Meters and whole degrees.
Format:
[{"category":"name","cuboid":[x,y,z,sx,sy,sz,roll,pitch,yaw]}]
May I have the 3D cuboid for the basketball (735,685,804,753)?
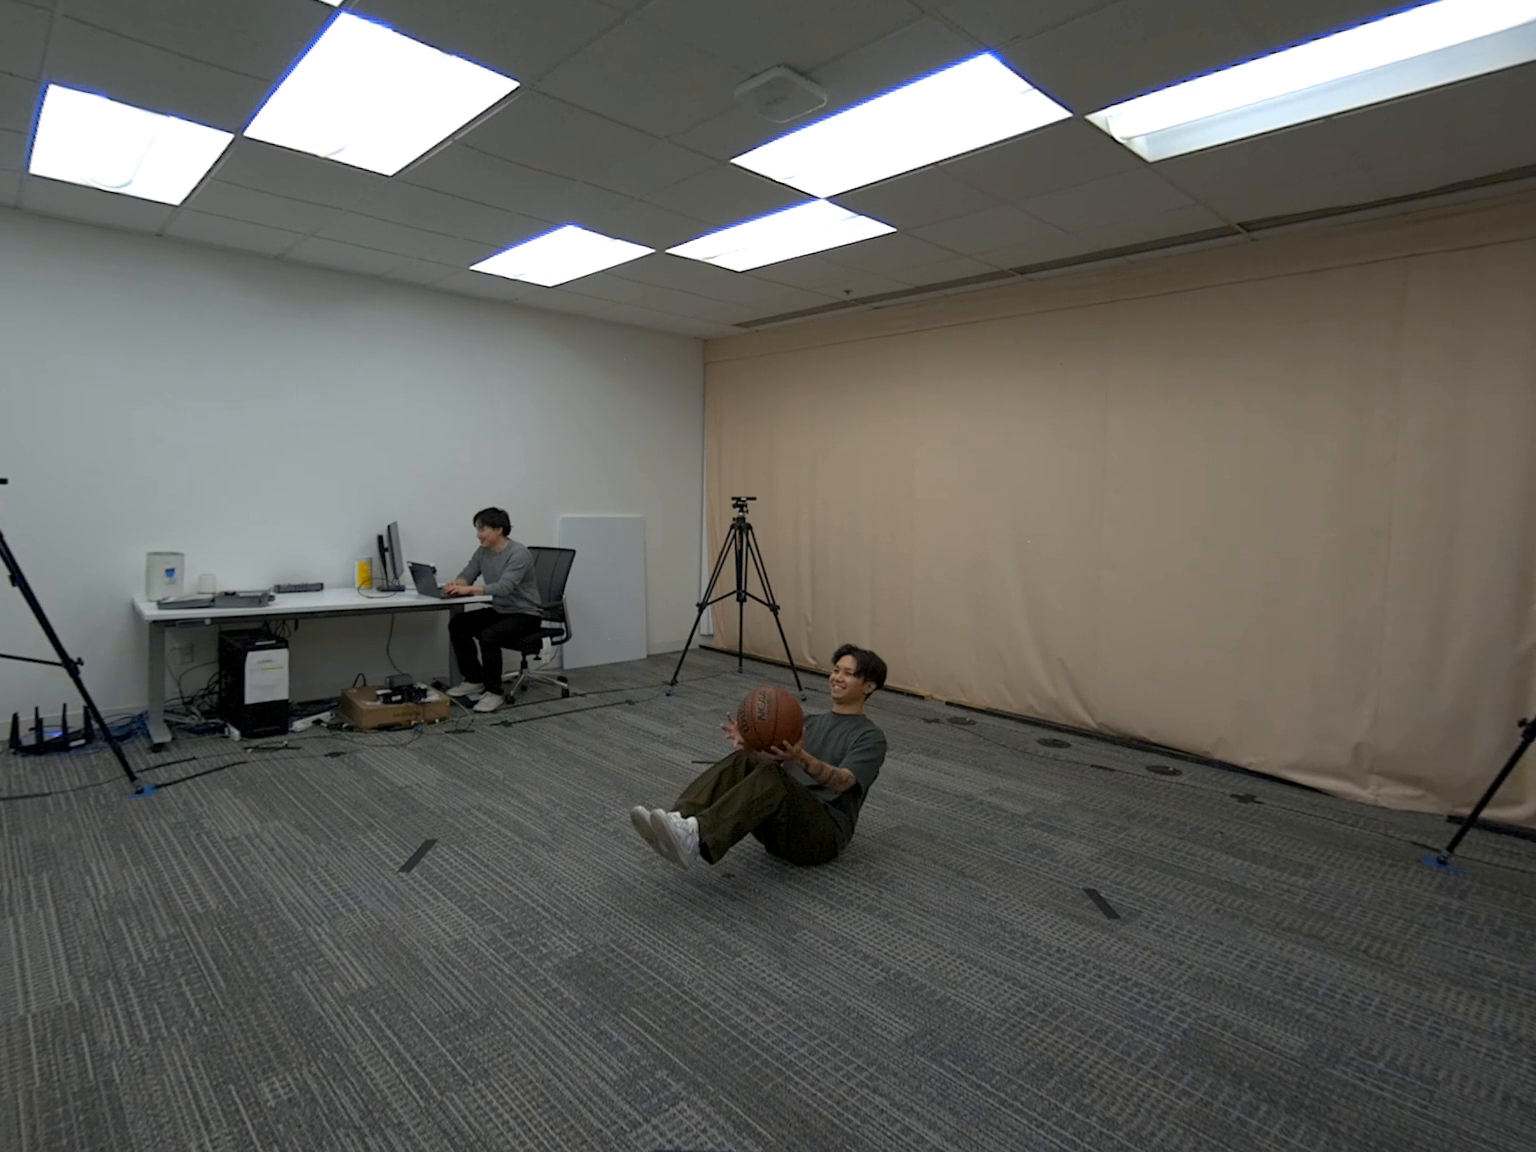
[{"category":"basketball","cuboid":[0.000,0.526,3.009,0.236,0.235,0.237,1,4,-1]}]
